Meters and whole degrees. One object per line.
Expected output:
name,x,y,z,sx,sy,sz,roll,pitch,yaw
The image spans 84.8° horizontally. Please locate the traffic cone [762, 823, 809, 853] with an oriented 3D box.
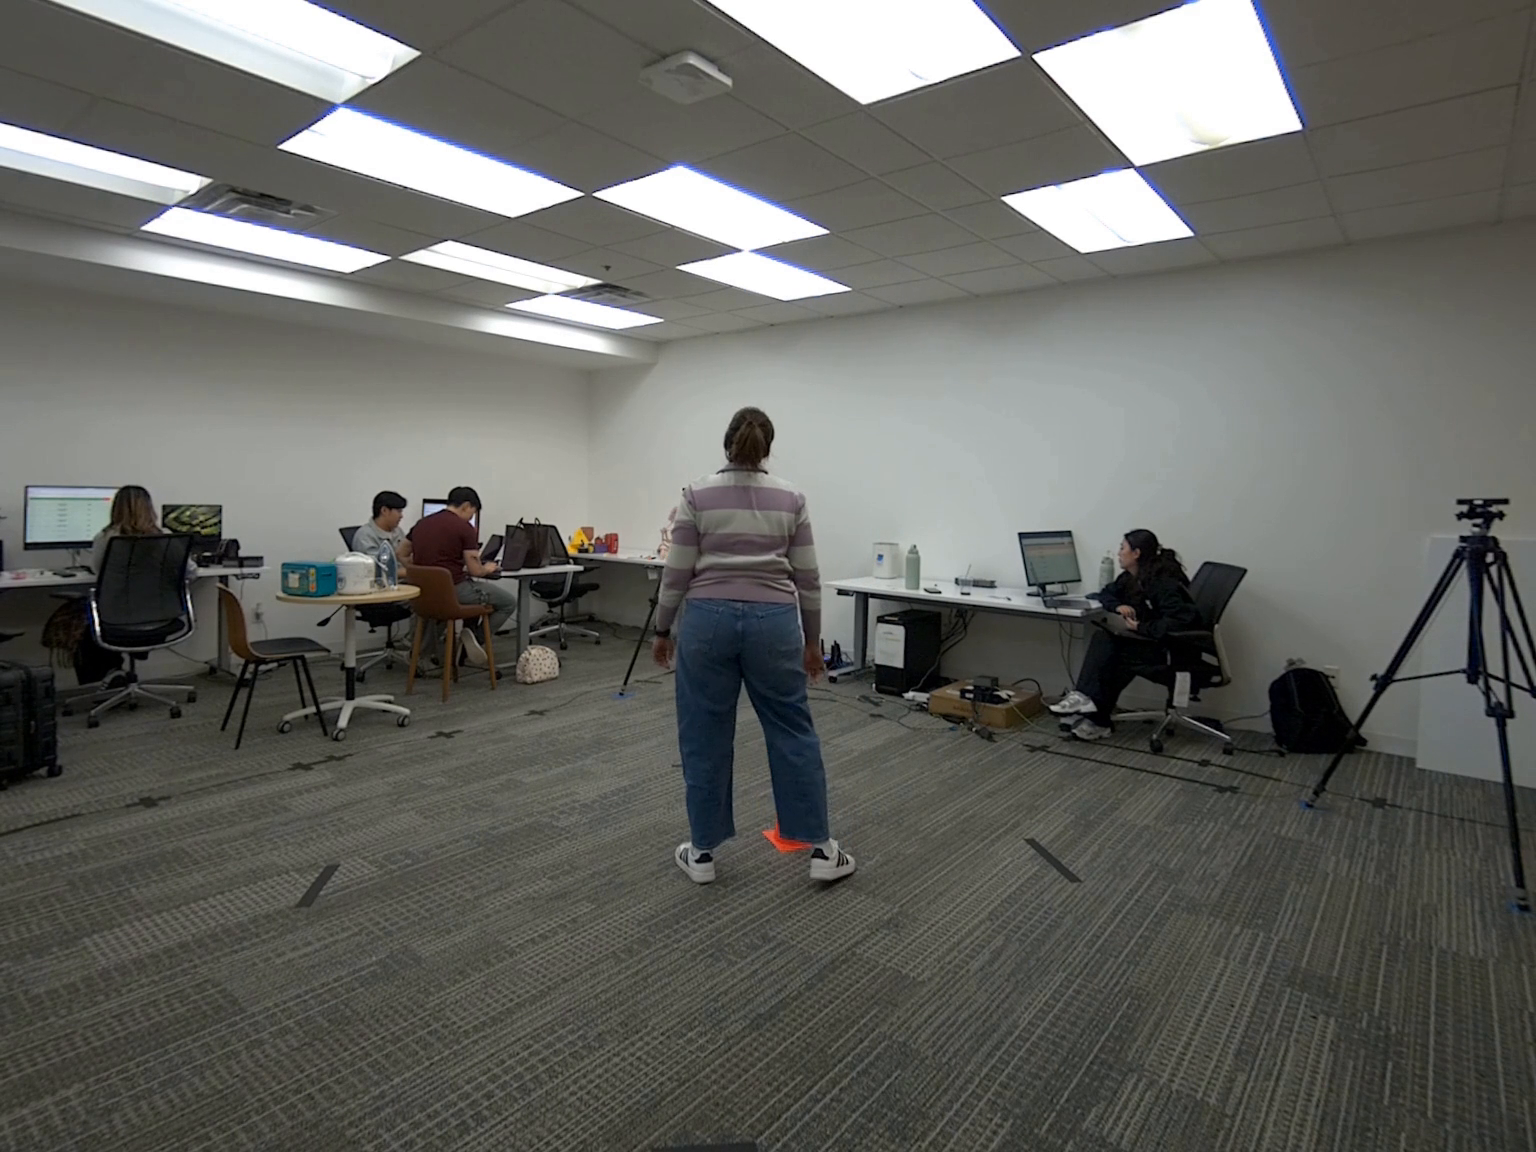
traffic cone,0.099,0.859,3.389,0.201,0.382,0.208,1,4,-20
